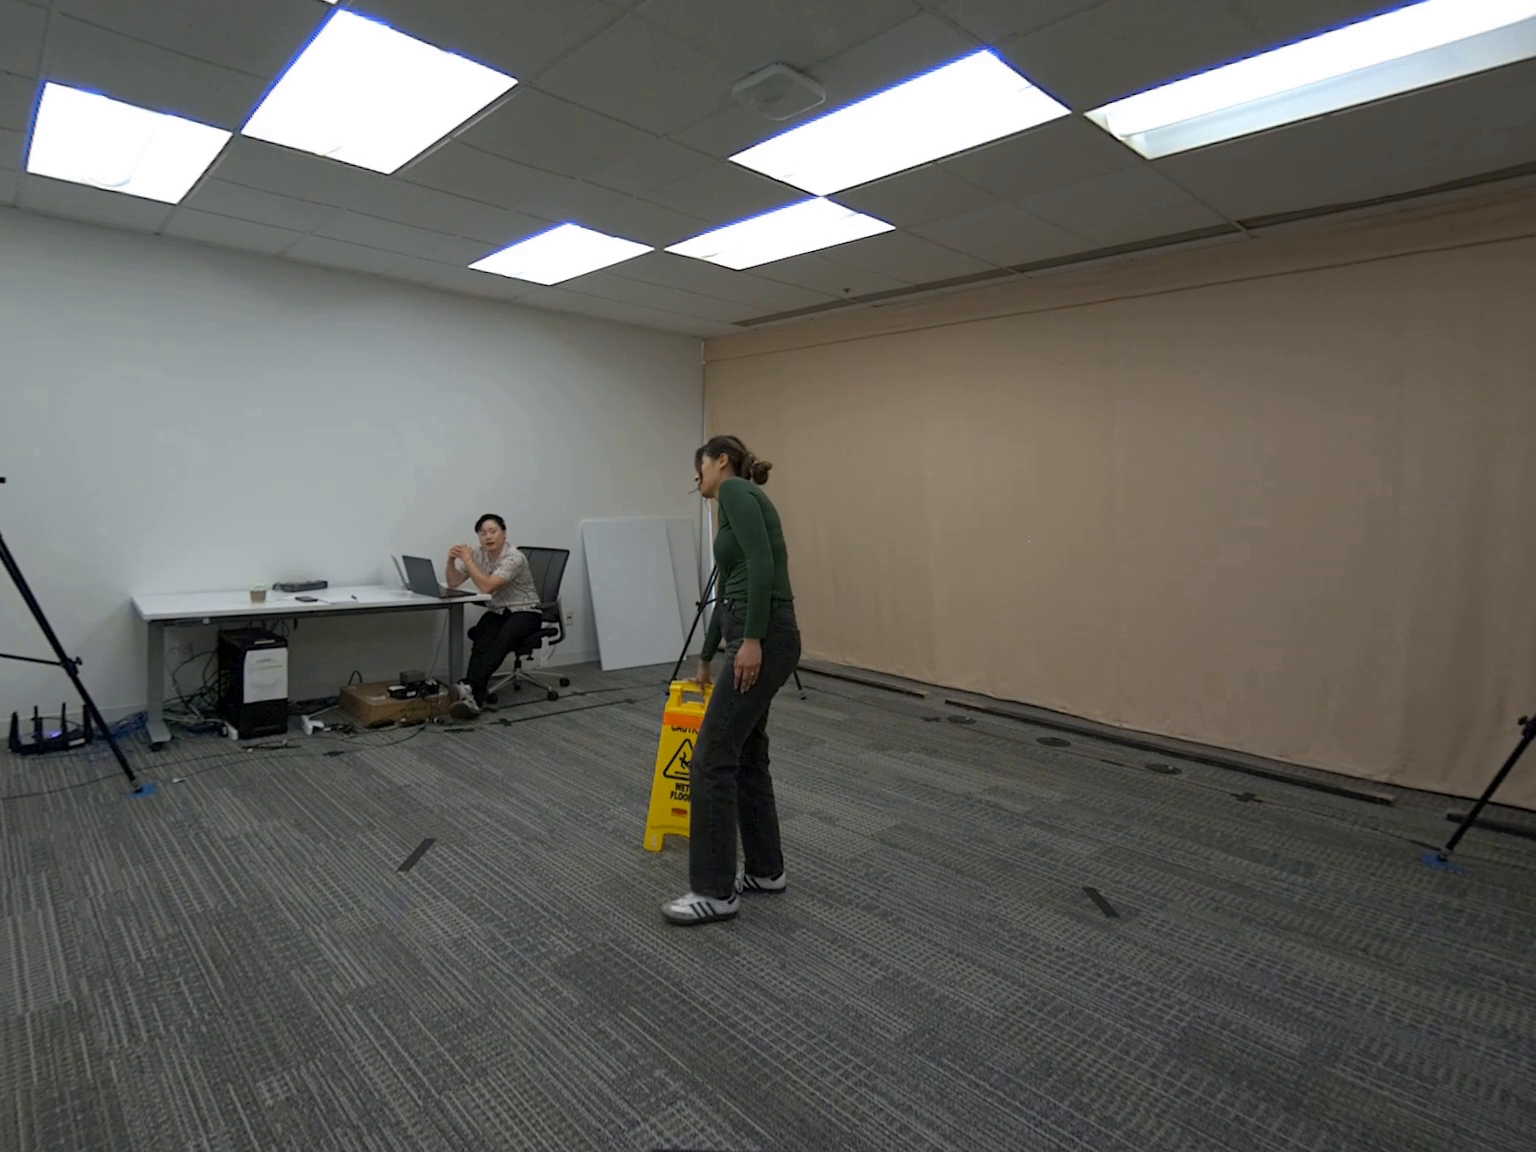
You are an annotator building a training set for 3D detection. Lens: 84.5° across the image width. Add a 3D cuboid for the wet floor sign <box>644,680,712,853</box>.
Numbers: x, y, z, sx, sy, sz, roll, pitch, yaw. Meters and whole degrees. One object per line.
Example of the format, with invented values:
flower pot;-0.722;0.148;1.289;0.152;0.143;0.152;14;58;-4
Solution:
wet floor sign;-0.315;0.752;3.386;0.287;0.645;0.285;1;3;21
